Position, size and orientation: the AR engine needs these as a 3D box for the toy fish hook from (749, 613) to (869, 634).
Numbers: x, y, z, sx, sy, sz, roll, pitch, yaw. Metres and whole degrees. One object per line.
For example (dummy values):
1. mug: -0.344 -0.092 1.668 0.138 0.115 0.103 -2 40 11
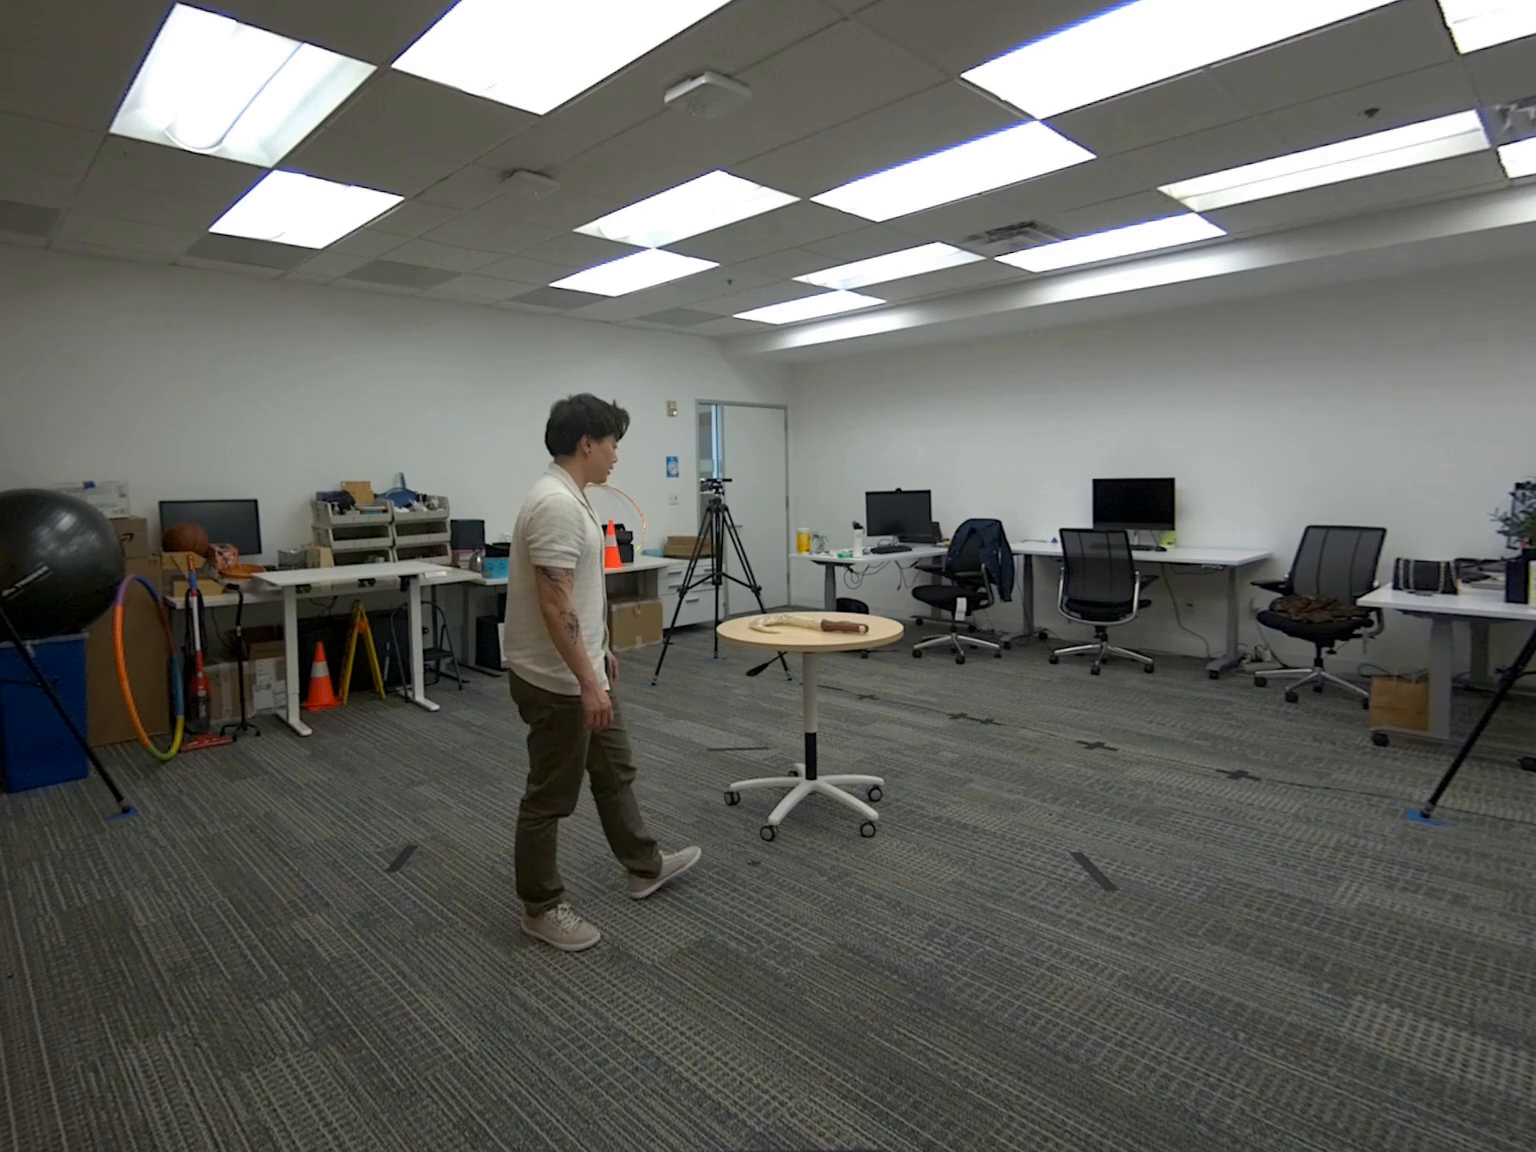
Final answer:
1. toy fish hook: 0.161 0.210 3.435 0.521 0.048 0.221 2 15 36
